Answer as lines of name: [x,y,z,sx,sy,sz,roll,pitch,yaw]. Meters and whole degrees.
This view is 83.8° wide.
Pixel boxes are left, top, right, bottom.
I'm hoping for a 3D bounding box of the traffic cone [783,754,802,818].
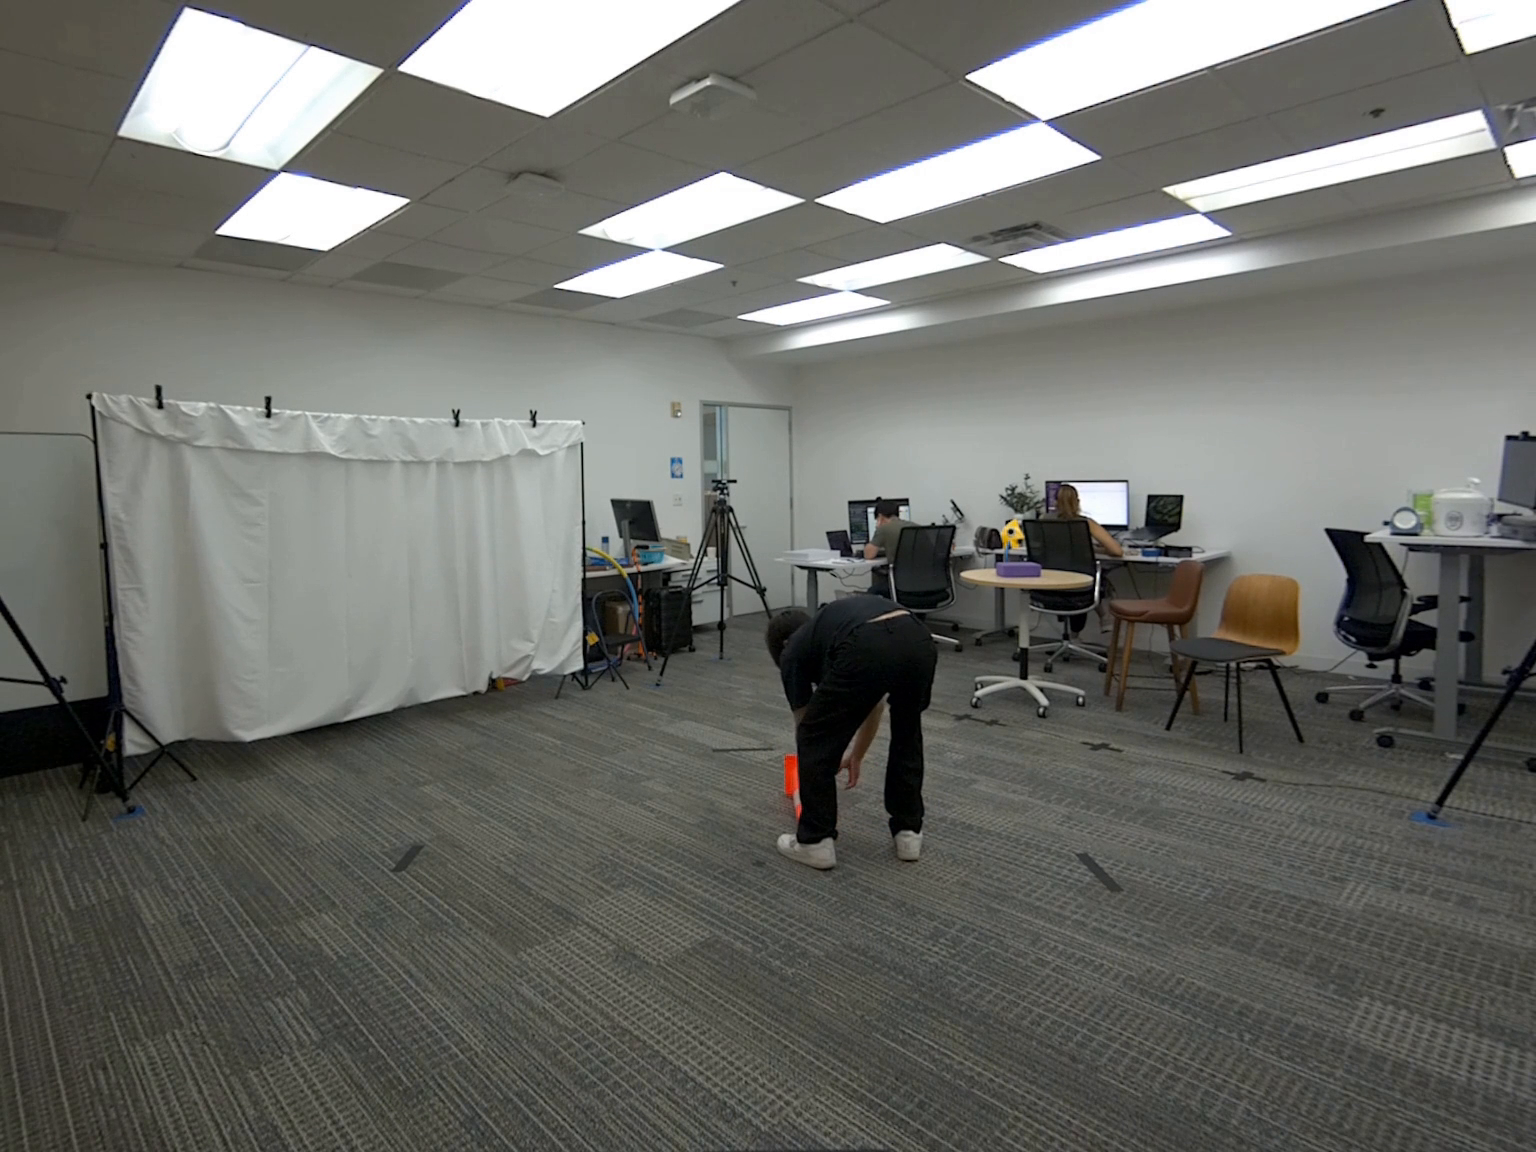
traffic cone: [0.177,0.949,3.567,0.206,0.199,0.389,-1,21,3]
